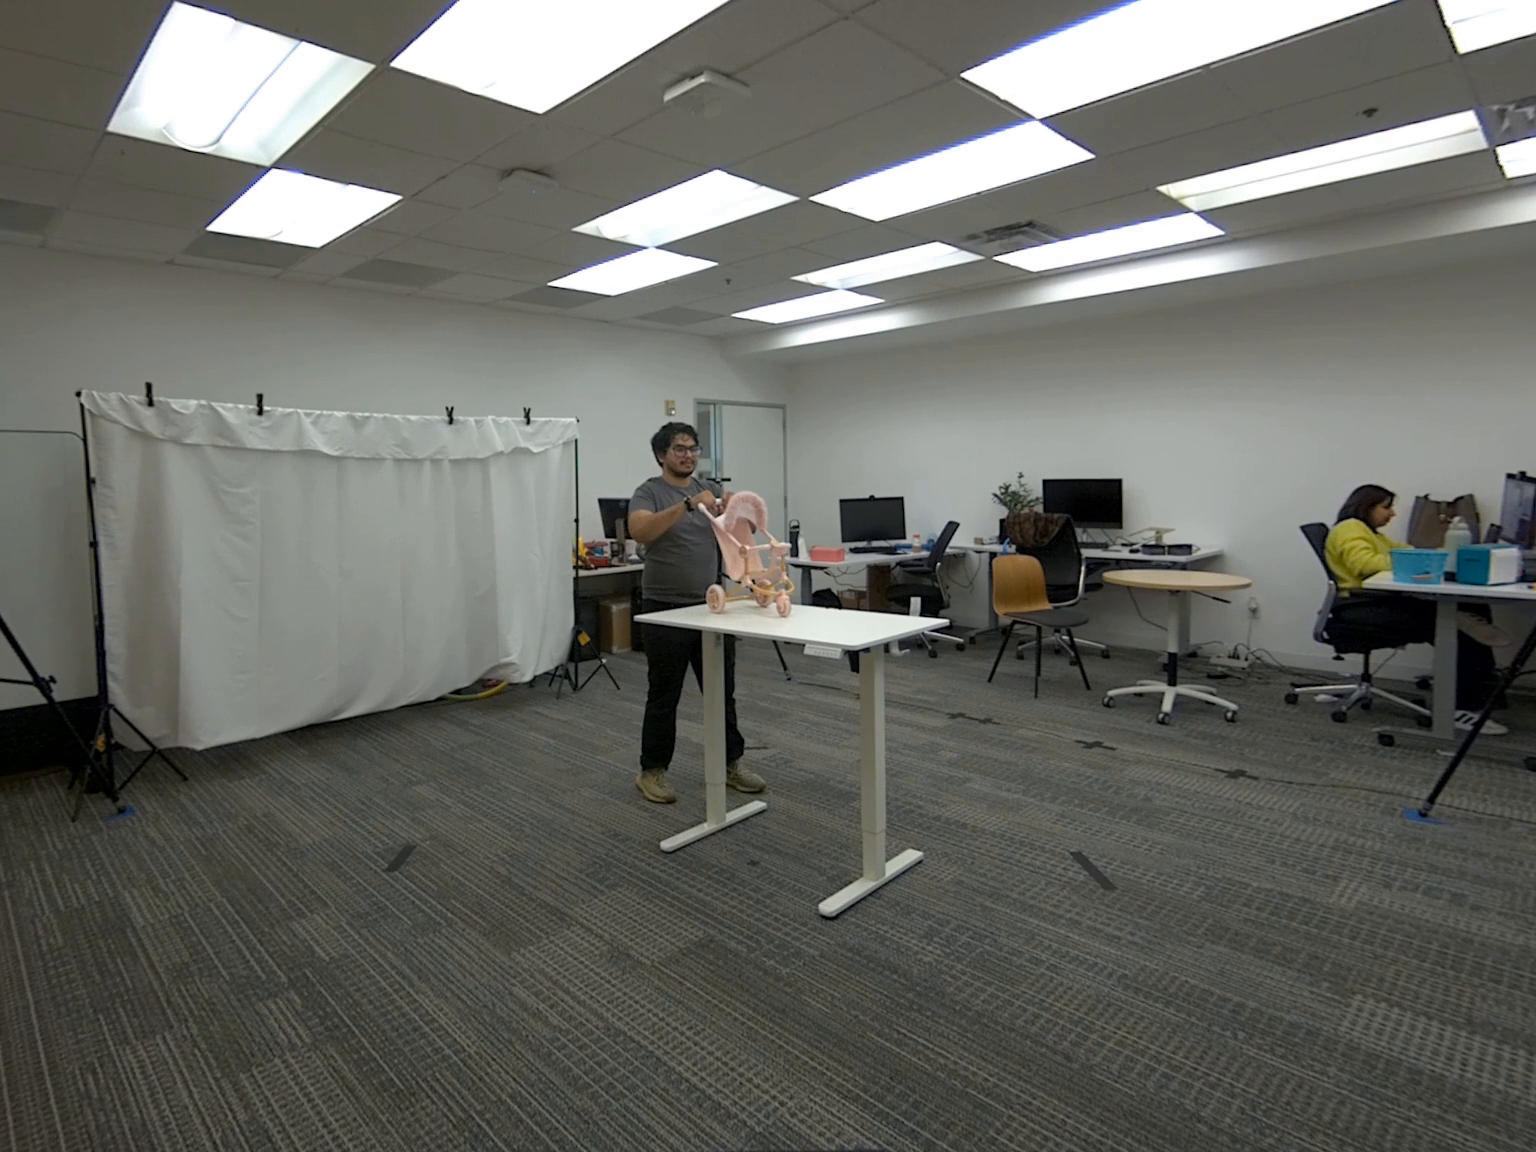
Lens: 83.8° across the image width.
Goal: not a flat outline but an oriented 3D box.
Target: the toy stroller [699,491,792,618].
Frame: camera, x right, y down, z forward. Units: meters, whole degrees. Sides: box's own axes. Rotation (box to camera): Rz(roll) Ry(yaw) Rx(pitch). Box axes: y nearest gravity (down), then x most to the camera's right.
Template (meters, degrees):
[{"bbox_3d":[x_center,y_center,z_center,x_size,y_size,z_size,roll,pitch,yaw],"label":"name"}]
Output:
[{"bbox_3d":[-0.066,-0.087,3.294,0.274,0.540,0.347,-3,-11,-36],"label":"toy stroller"}]
